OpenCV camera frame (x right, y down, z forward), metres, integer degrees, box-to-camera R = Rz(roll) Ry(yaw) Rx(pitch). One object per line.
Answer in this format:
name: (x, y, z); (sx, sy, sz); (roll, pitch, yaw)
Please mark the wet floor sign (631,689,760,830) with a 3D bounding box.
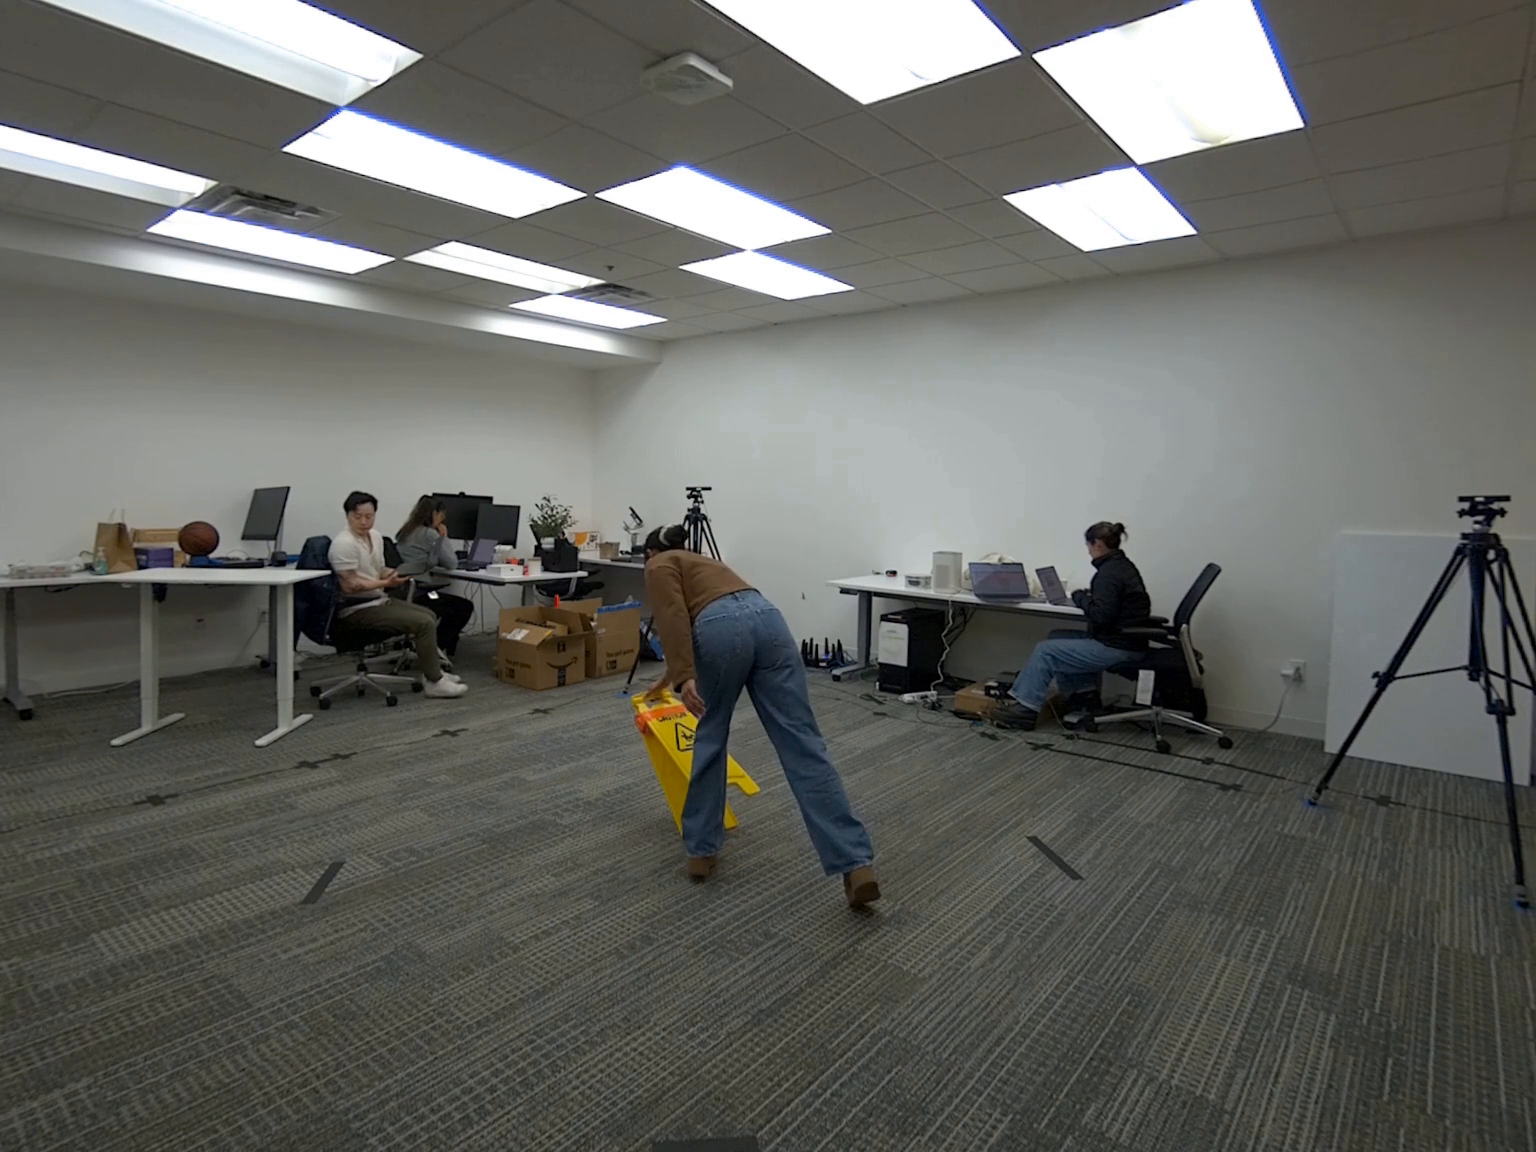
wet floor sign: (-0.348, 0.729, 3.542); (0.274, 0.287, 0.671); (-3, 44, -43)
